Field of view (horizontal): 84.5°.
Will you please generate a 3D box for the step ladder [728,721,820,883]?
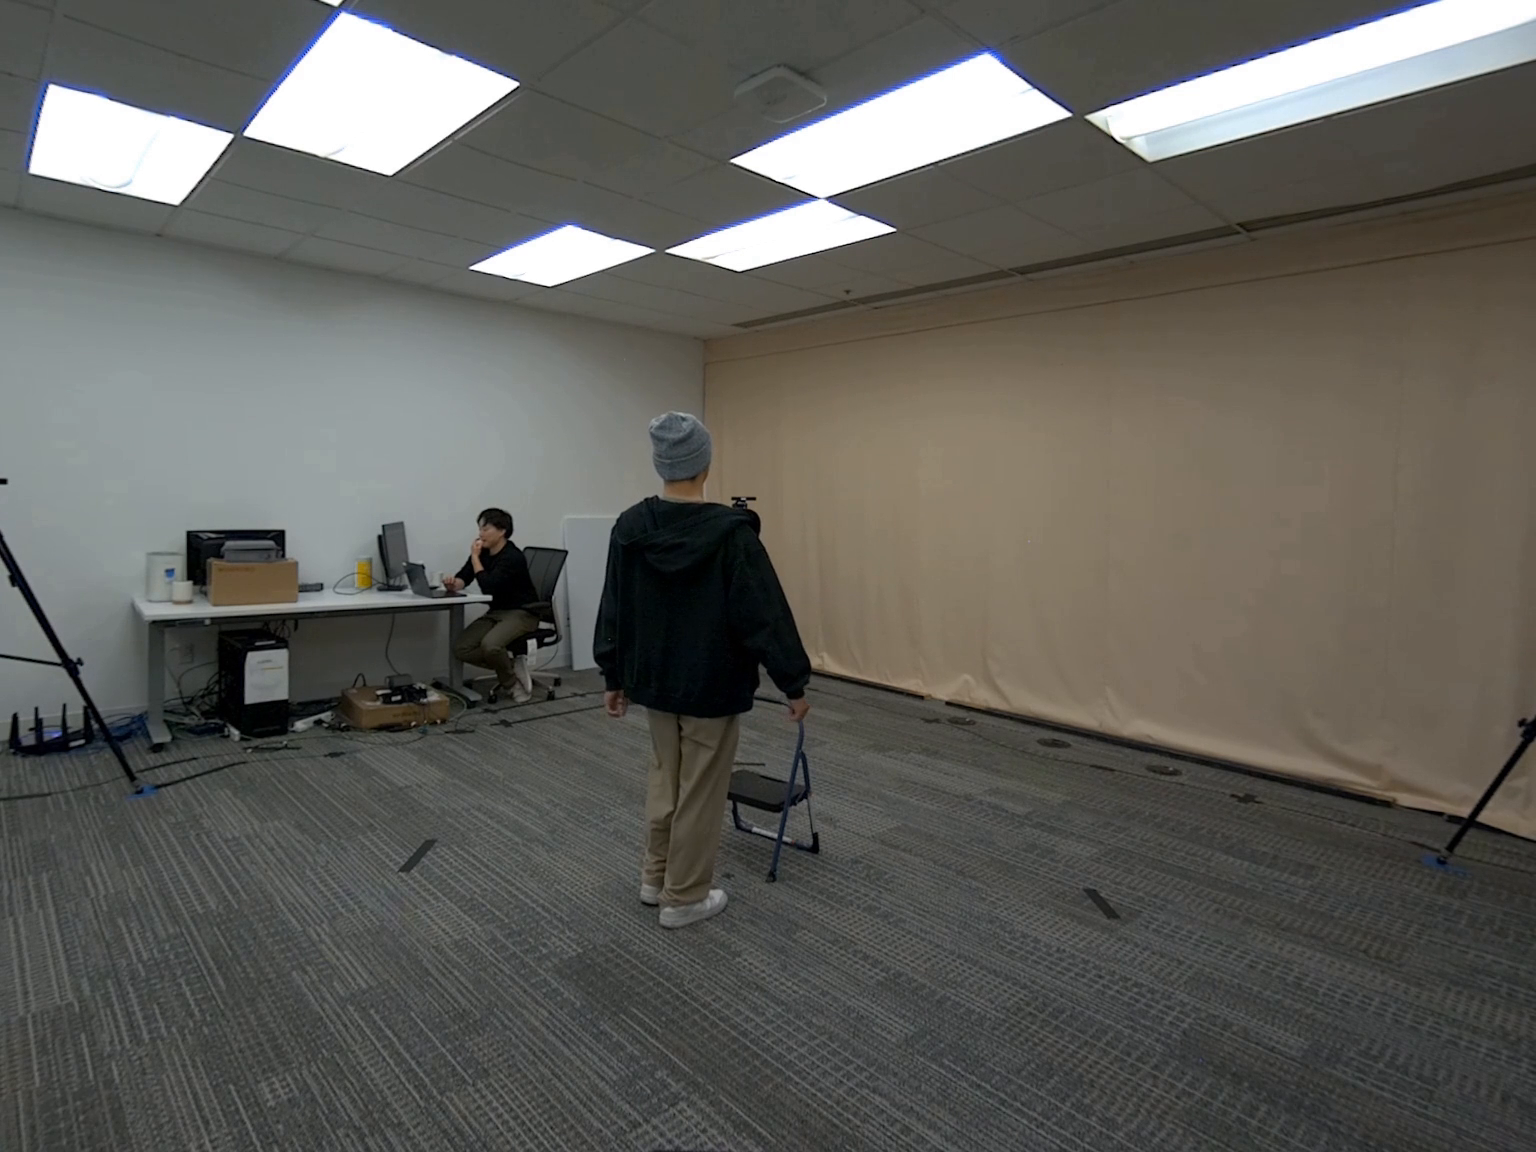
[{"bbox_3d":[-0.055,0.789,3.307,0.441,0.605,0.341,4,4,36],"label":"step ladder"}]
